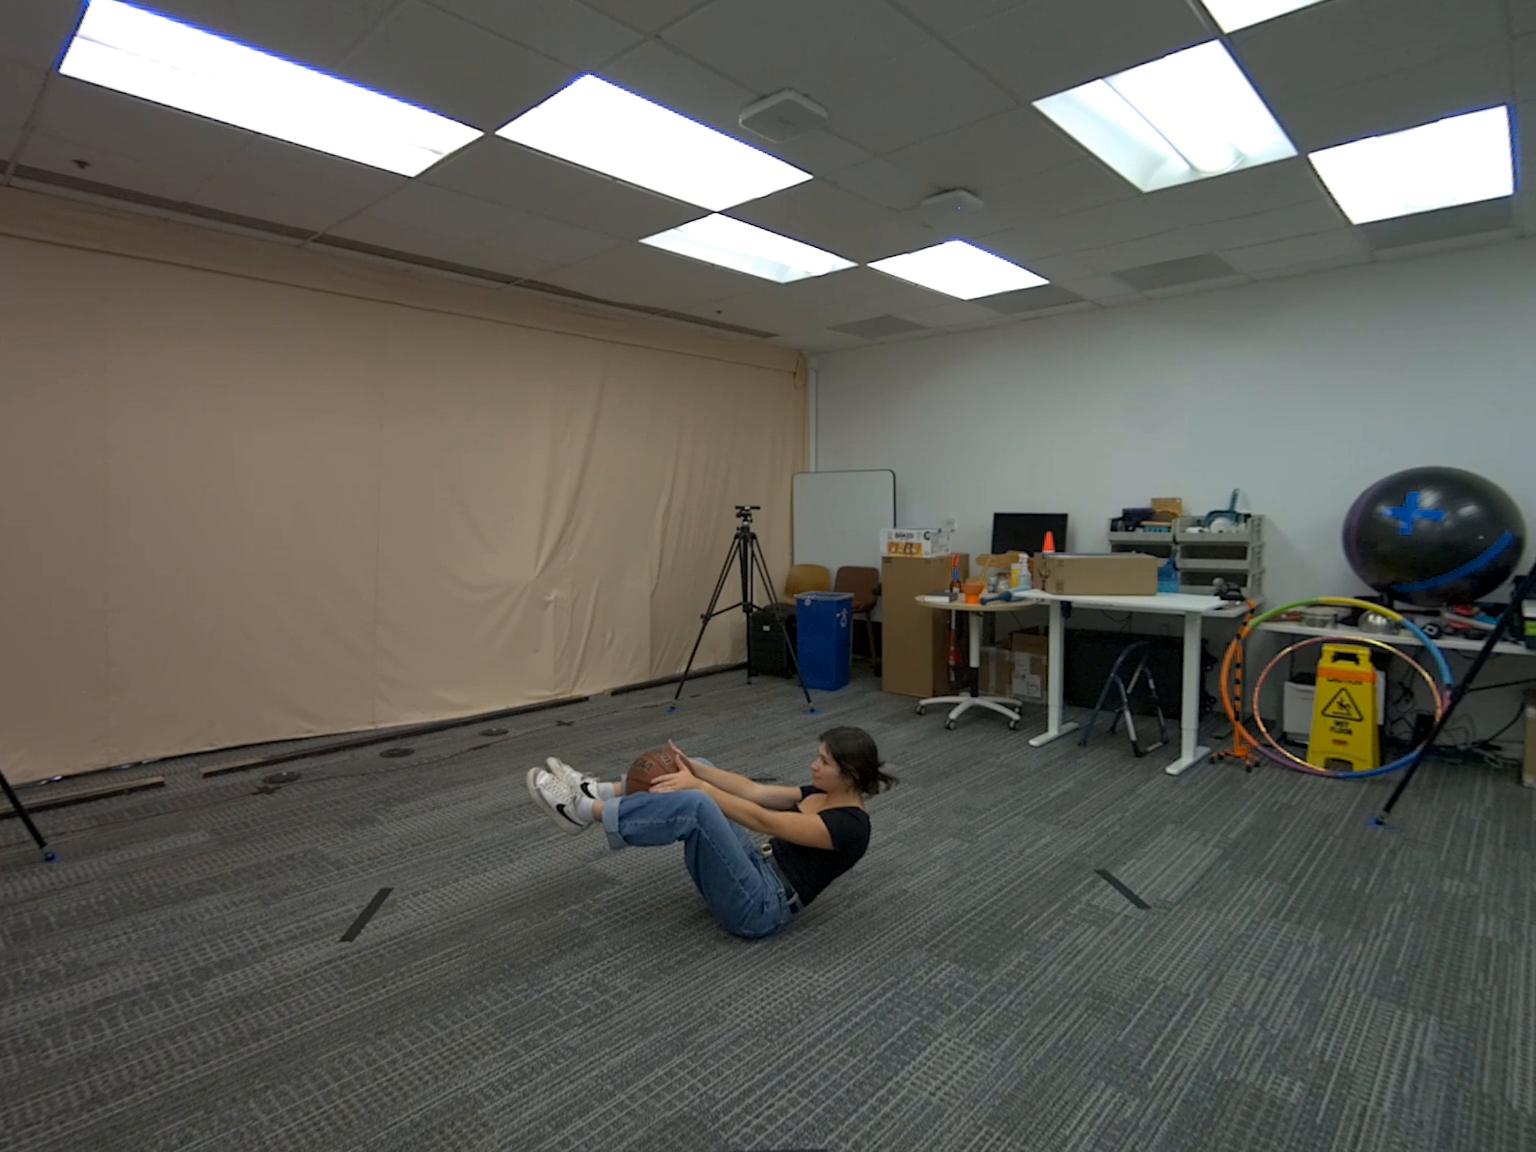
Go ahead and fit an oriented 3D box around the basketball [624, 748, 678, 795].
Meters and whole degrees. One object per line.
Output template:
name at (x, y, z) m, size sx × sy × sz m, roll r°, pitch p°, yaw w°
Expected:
basketball at (-0.350, 0.687, 2.818) m, size 0.236 × 0.235 × 0.237 m, roll 0°, pitch 4°, yaw -2°
